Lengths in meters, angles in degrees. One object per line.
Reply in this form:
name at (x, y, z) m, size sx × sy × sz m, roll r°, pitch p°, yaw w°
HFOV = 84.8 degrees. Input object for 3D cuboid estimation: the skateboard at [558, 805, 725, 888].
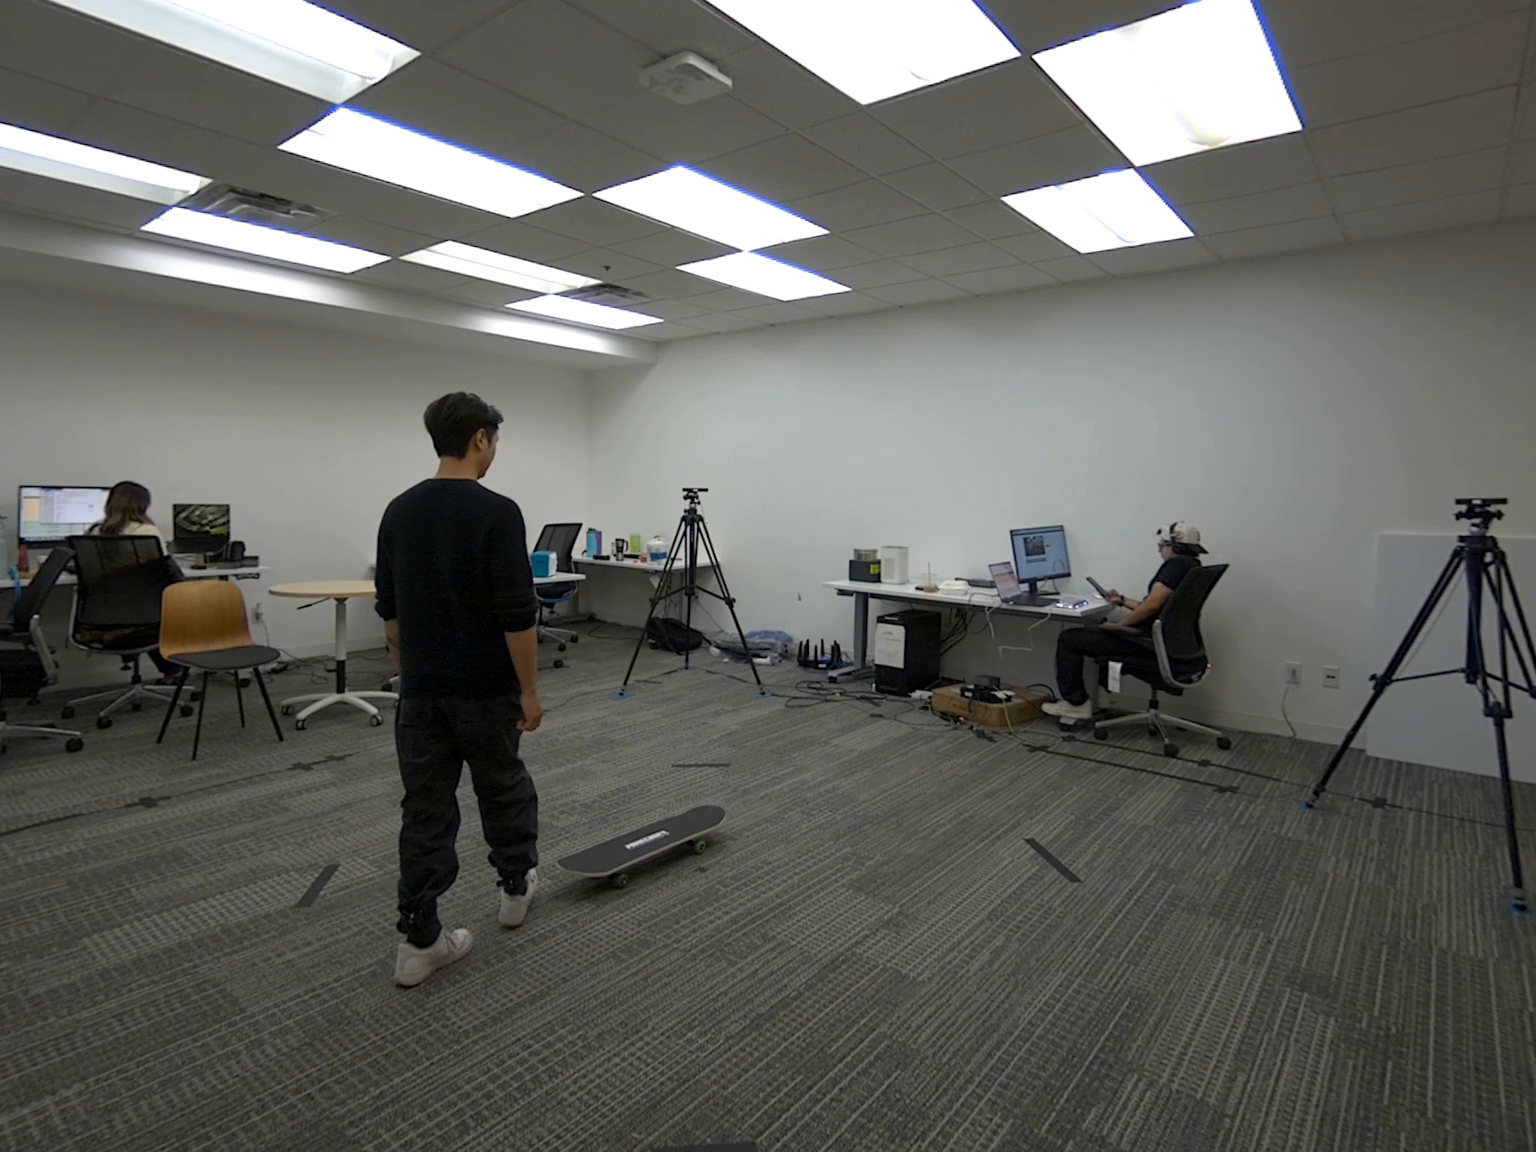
skateboard at (-0.453, 1.006, 3.150) m, size 0.200 × 0.110 × 0.762 m, roll 6°, pitch 7°, yaw 40°
